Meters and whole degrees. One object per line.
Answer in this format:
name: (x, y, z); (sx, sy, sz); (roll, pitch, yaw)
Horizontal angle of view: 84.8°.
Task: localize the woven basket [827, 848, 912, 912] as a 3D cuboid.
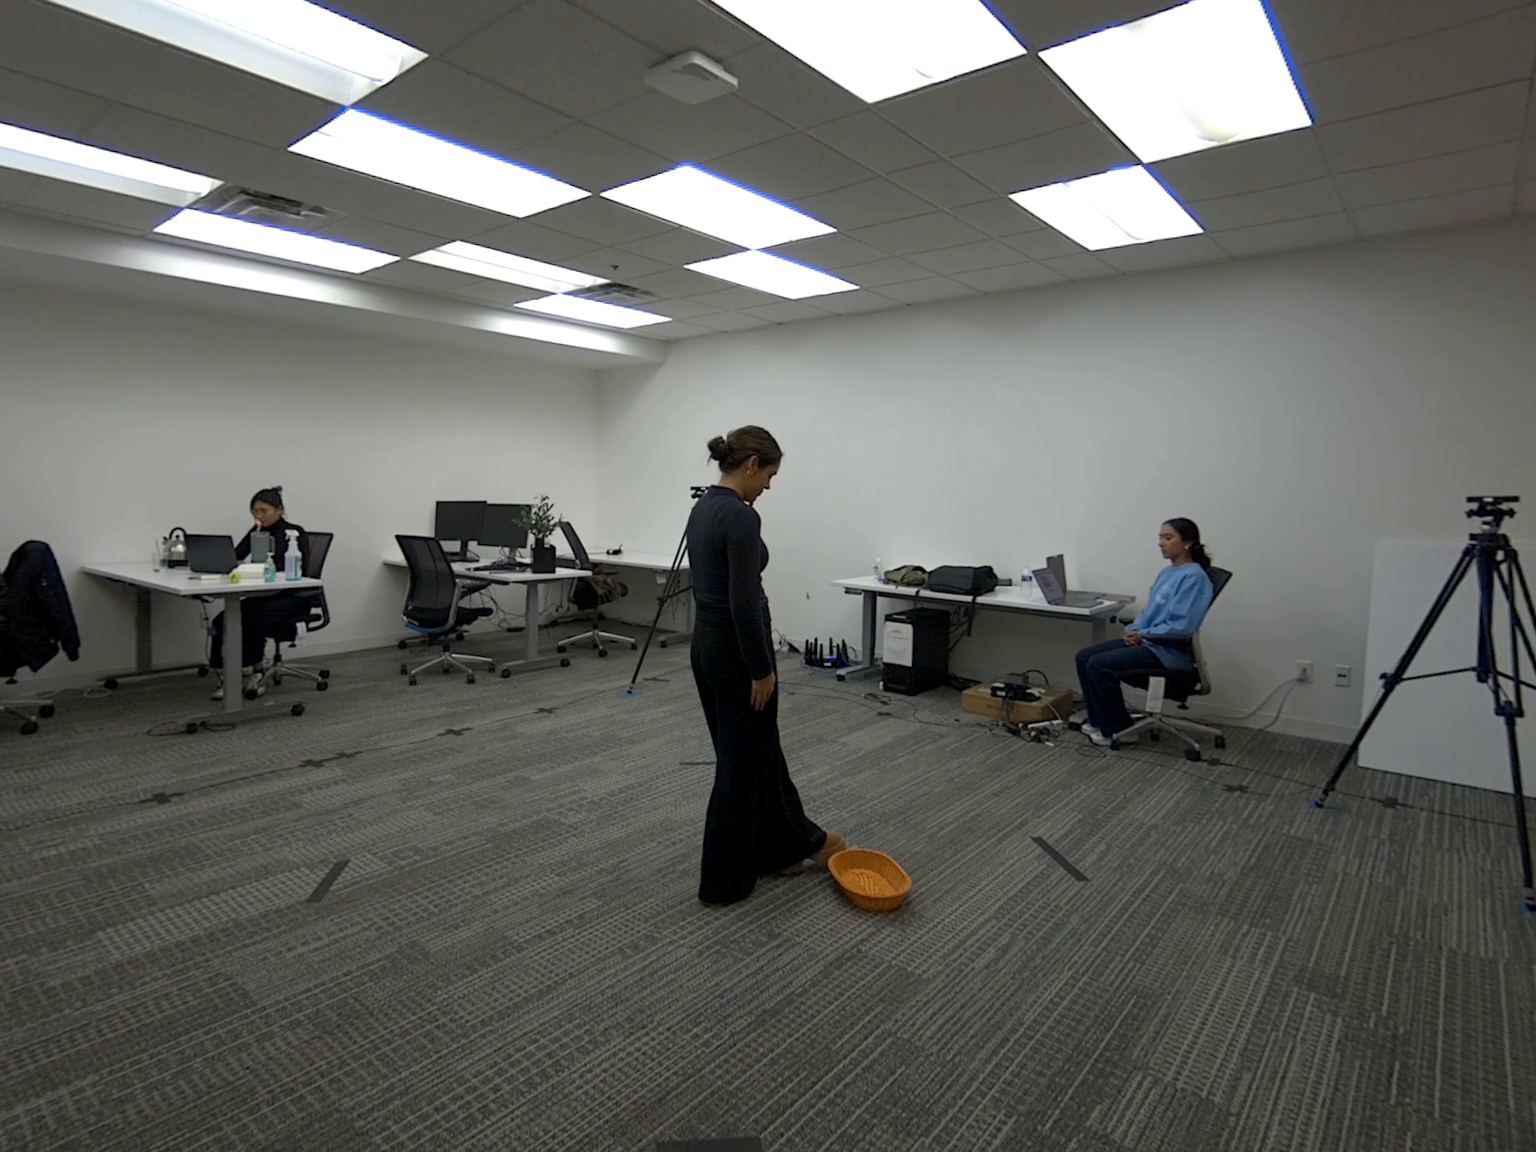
woven basket: (0.343, 1.053, 2.942); (0.249, 0.073, 0.357); (-3, 8, -14)
